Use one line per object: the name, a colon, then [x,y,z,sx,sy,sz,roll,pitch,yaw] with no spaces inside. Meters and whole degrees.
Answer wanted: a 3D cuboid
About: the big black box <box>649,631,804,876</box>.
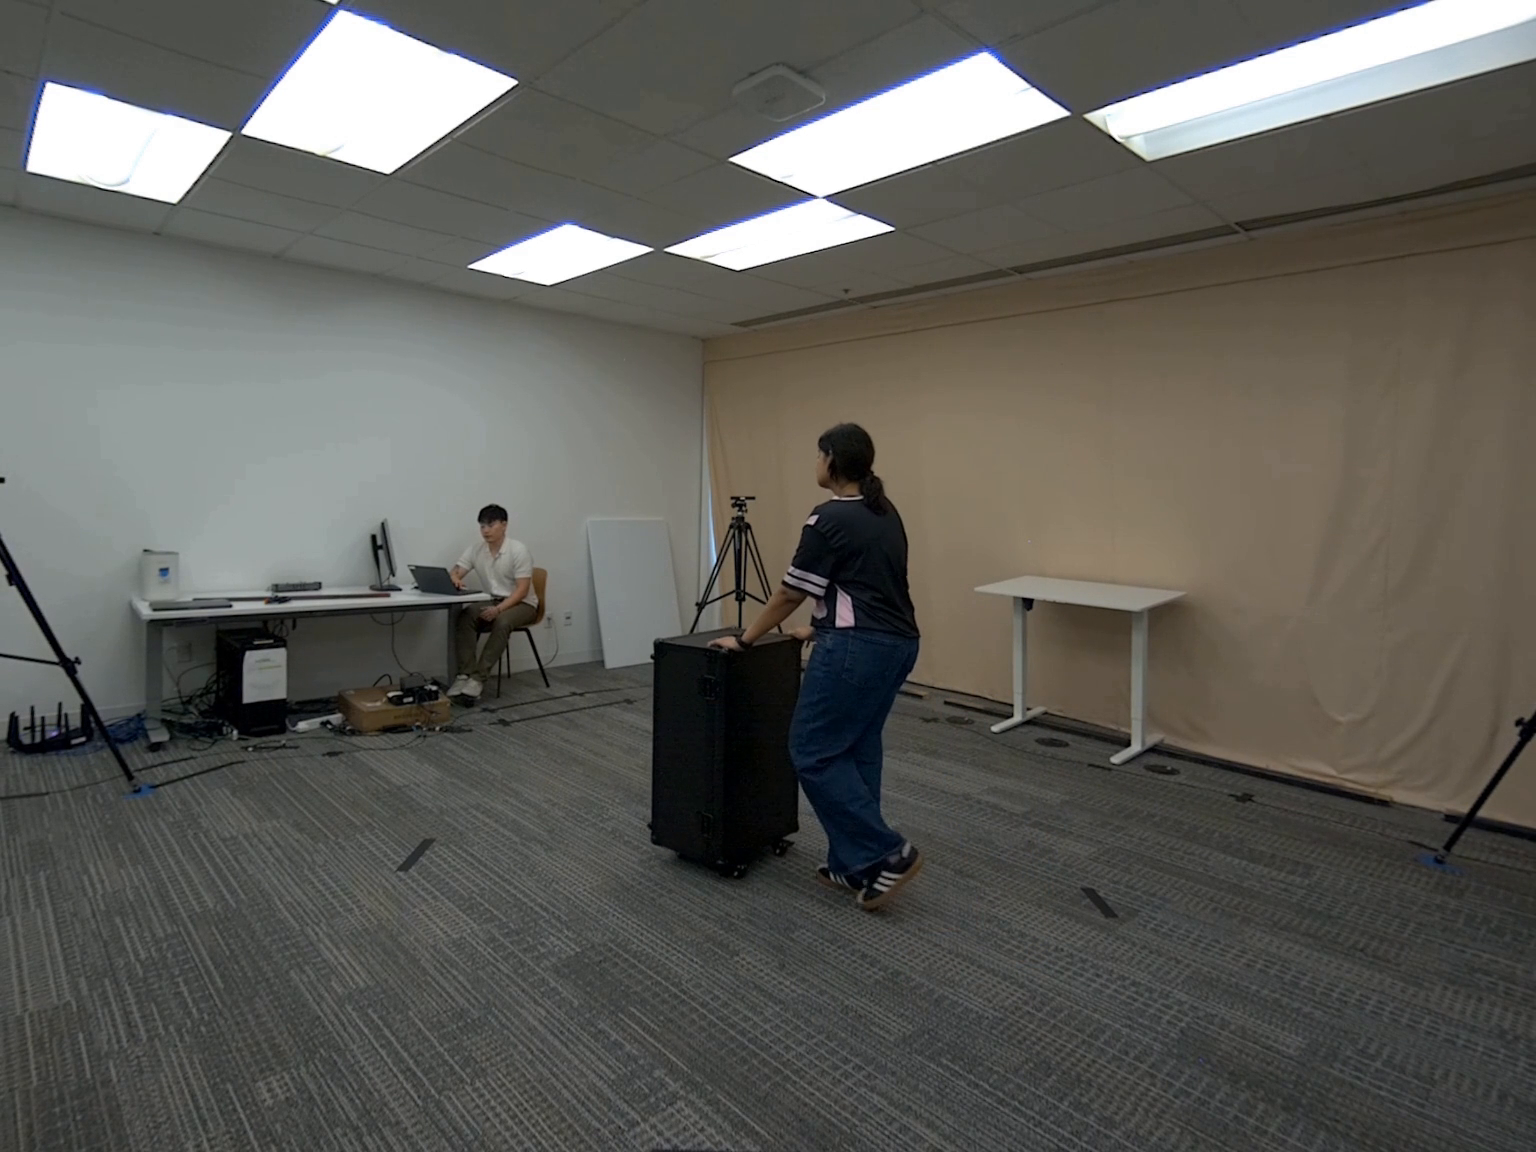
big black box: [-0.168,0.670,3.266,0.394,0.867,0.512,3,3,37]
